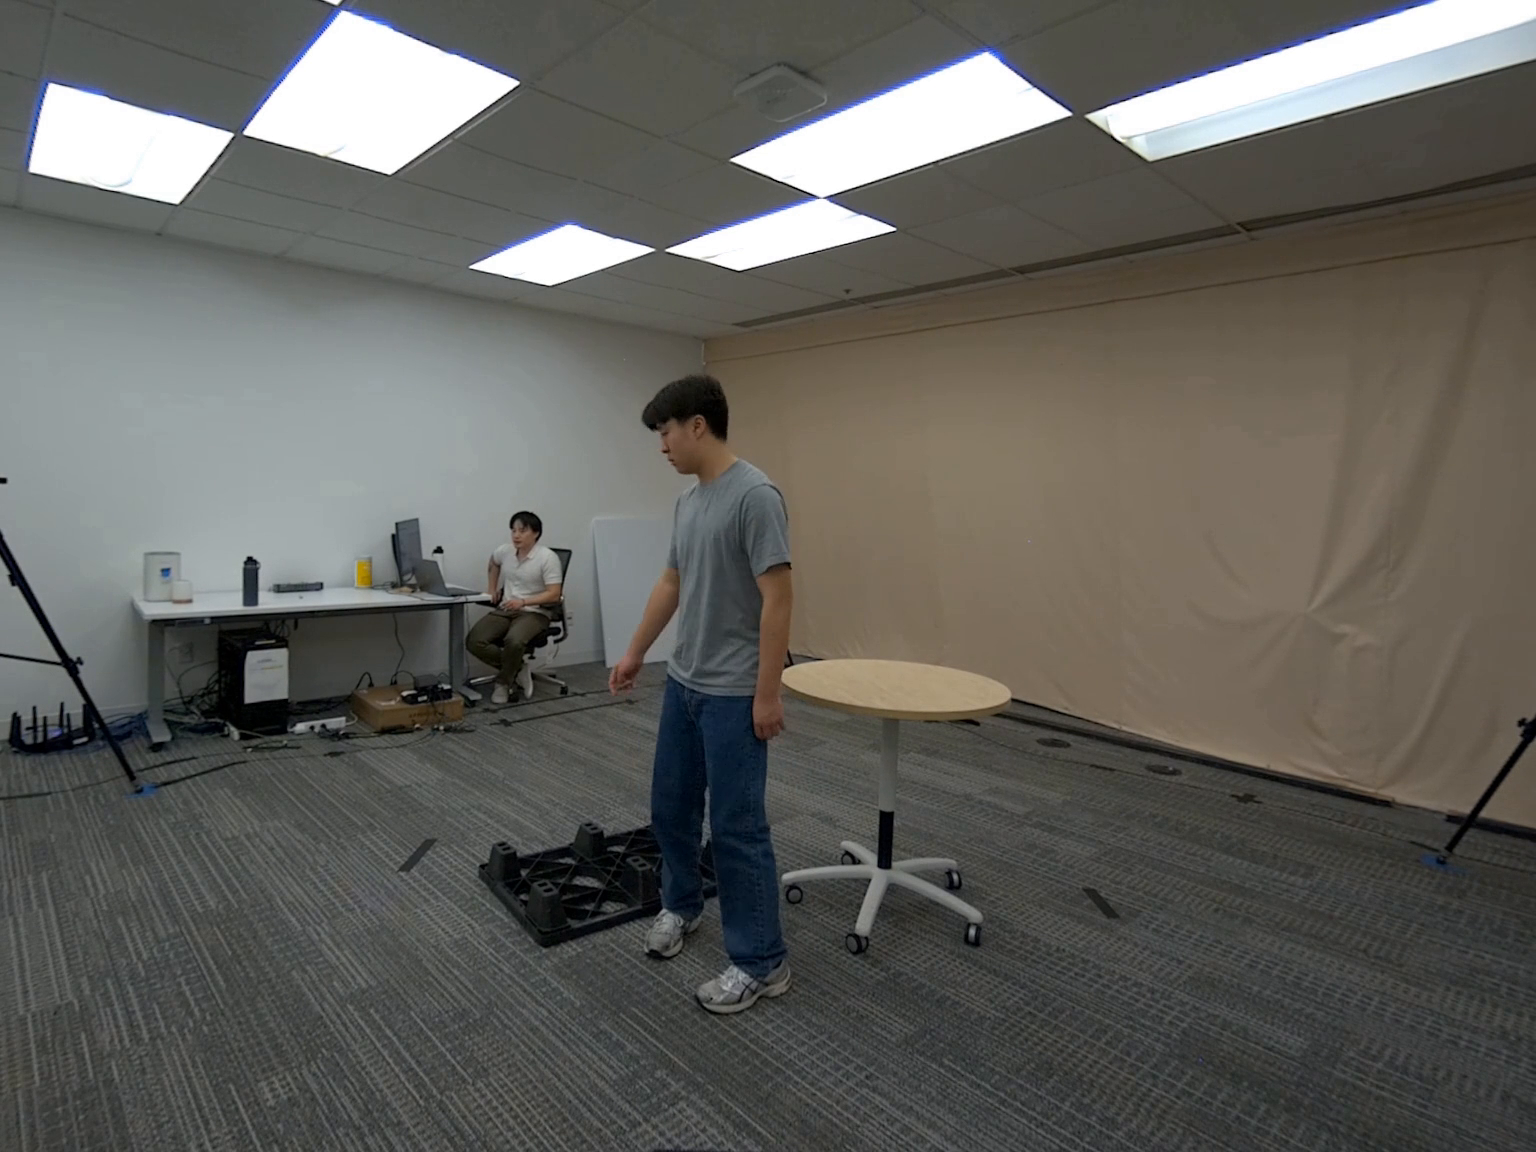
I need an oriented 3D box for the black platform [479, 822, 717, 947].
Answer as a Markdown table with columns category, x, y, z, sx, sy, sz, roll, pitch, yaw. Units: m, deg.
| category | x | y | z | sx | sy | sz | roll | pitch | yaw |
| --- | --- | --- | --- | --- | --- | --- | --- | --- | --- |
| black platform | -0.564 | 1.040 | 3.037 | 0.788 | 0.143 | 0.620 | -3 | 6 | -37 |
